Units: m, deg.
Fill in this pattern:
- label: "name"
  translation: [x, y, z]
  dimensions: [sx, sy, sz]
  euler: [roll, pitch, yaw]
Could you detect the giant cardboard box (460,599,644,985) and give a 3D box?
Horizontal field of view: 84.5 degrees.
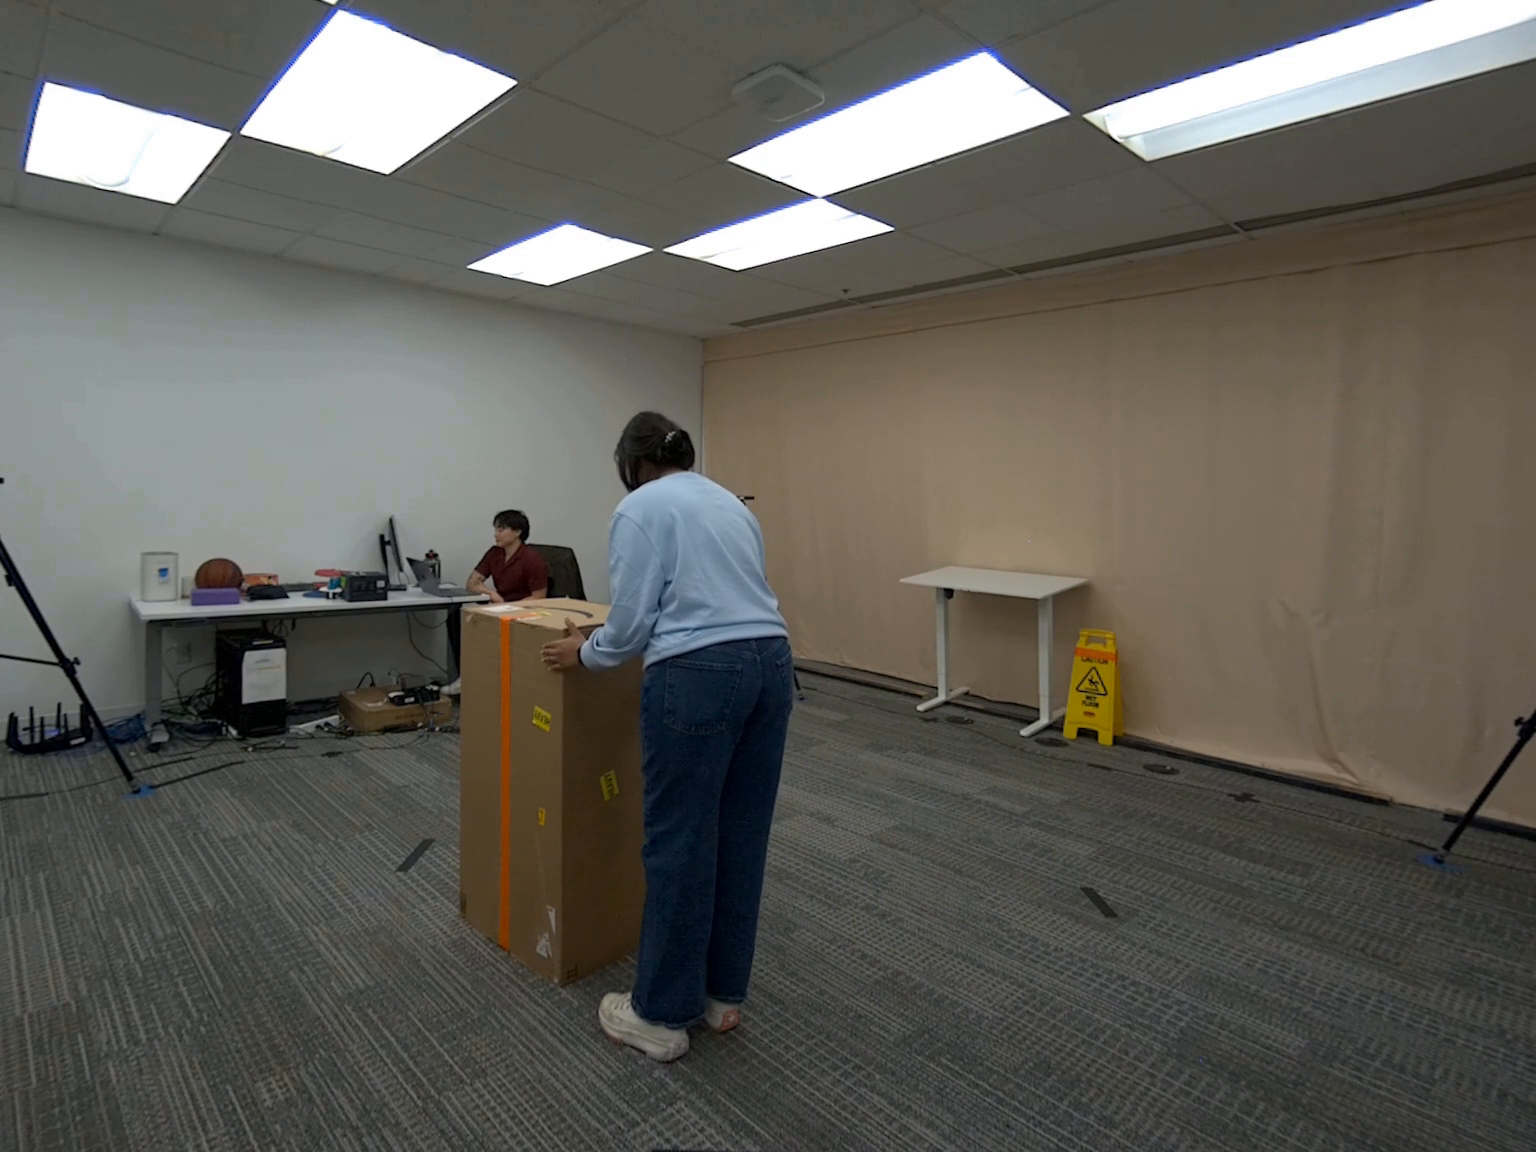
- label: "giant cardboard box"
  translation: [-0.663, 0.626, 2.691]
  dimensions: [0.592, 1.023, 0.416]
  euler: [5, 5, 42]
